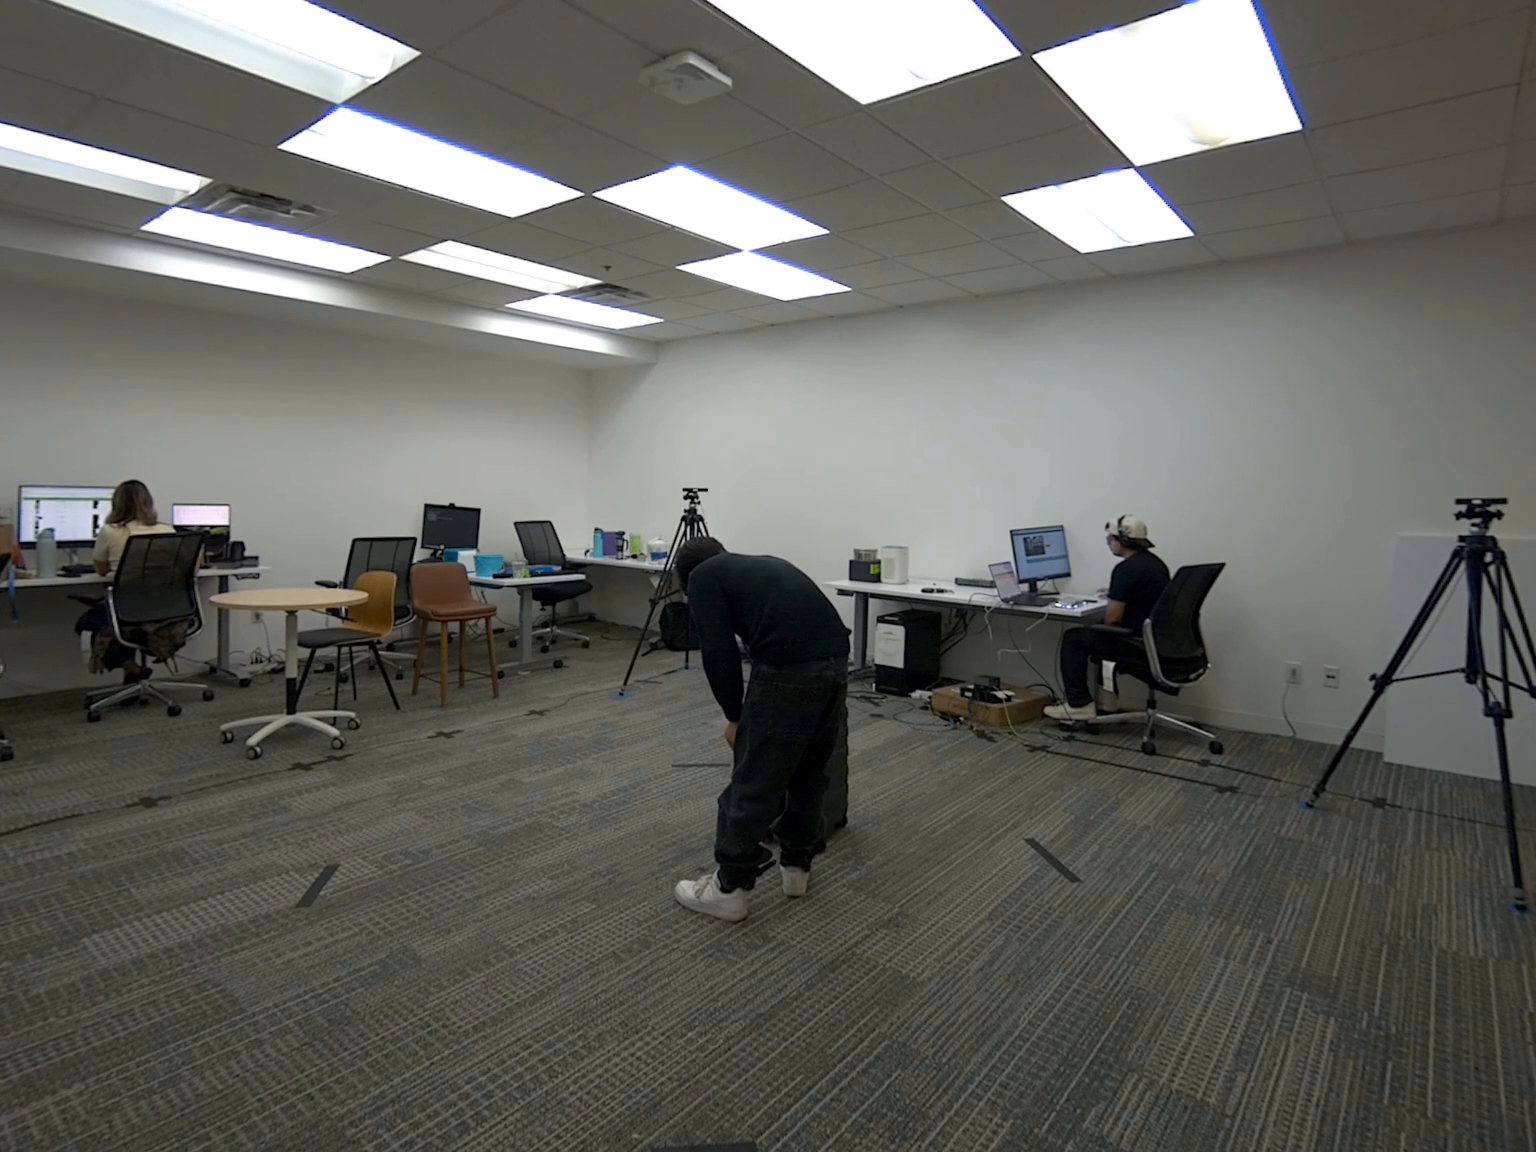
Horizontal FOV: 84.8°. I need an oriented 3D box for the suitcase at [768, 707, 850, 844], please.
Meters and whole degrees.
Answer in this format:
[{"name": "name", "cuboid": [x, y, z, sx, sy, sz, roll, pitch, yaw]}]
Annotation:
[{"name": "suitcase", "cuboid": [0.146, 0.766, 3.443, 0.255, 0.548, 0.366, 2, 4, 29]}]
